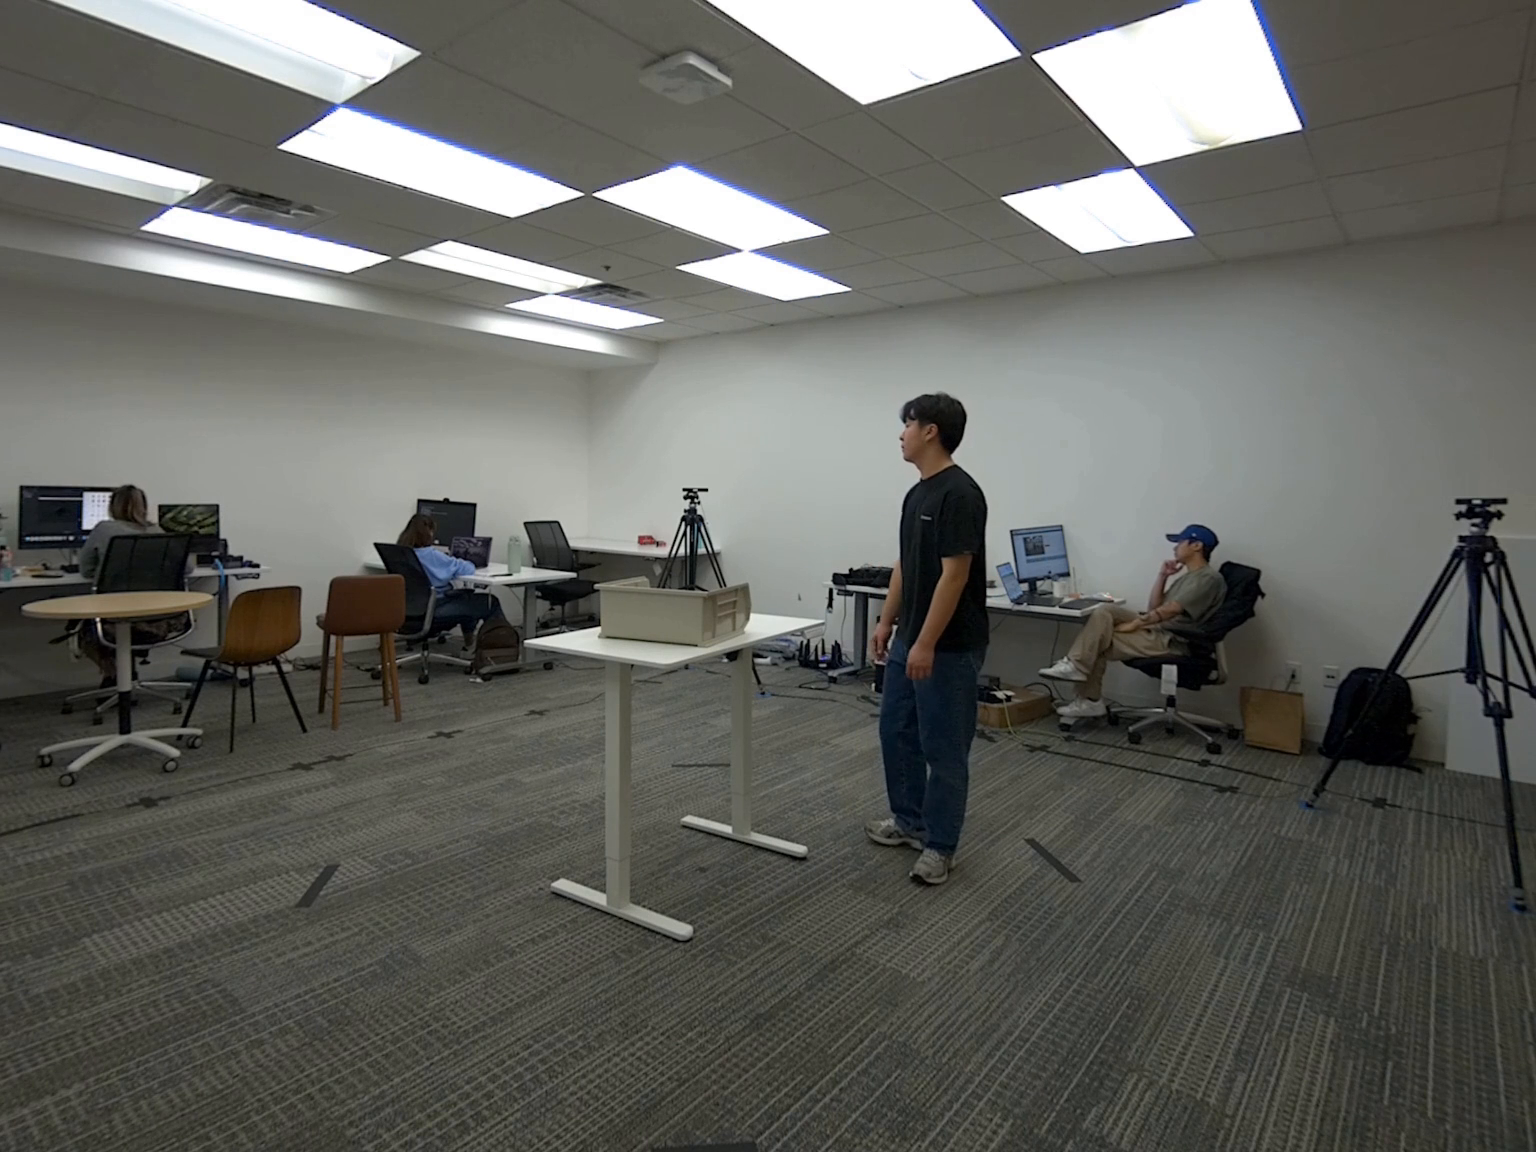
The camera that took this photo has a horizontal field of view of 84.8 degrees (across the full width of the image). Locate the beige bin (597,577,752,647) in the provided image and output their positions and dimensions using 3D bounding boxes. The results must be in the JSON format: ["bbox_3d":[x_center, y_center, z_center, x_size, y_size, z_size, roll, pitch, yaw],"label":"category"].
[{"bbox_3d":[-0.332,0.115,2.944,0.433,0.188,0.370,3,7,23],"label":"beige bin"}]
